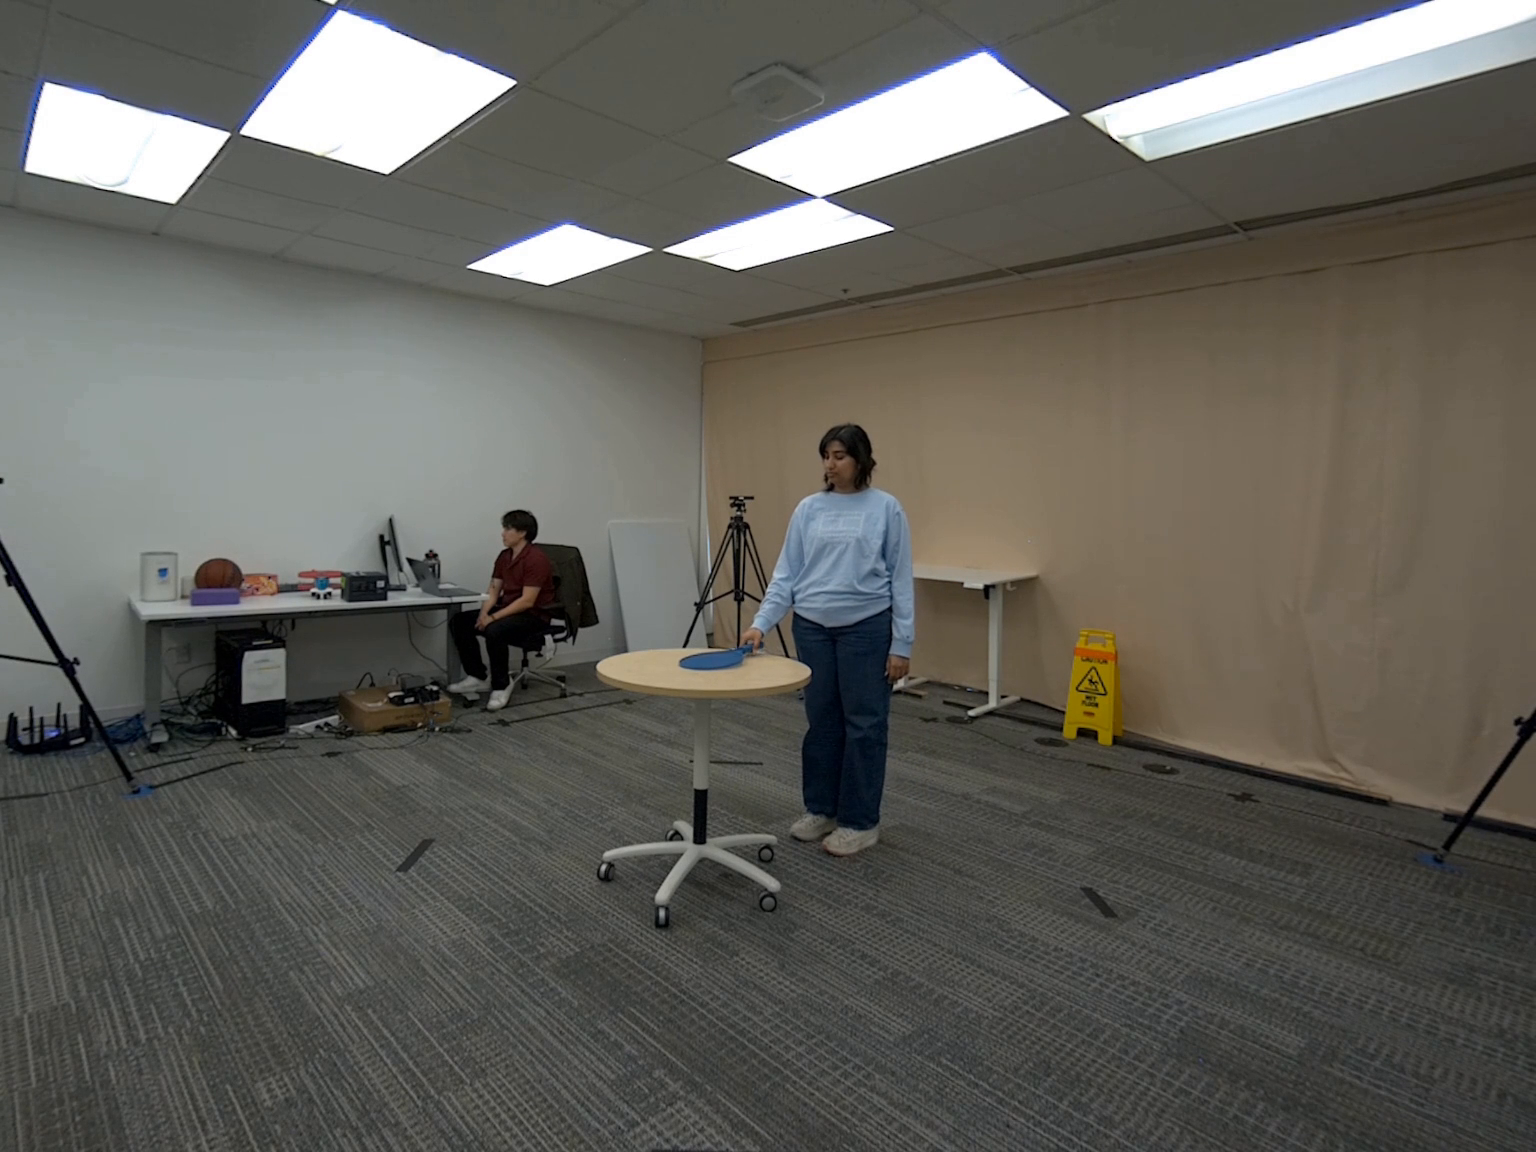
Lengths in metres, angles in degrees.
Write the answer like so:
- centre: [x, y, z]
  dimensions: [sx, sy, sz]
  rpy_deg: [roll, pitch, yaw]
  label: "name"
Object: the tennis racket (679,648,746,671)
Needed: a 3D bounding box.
- centre: [-0.161, 0.305, 3.123]
  dimensions: [0.219, 0.031, 0.424]
  rpy_deg: [5, 10, 40]
  label: "tennis racket"
